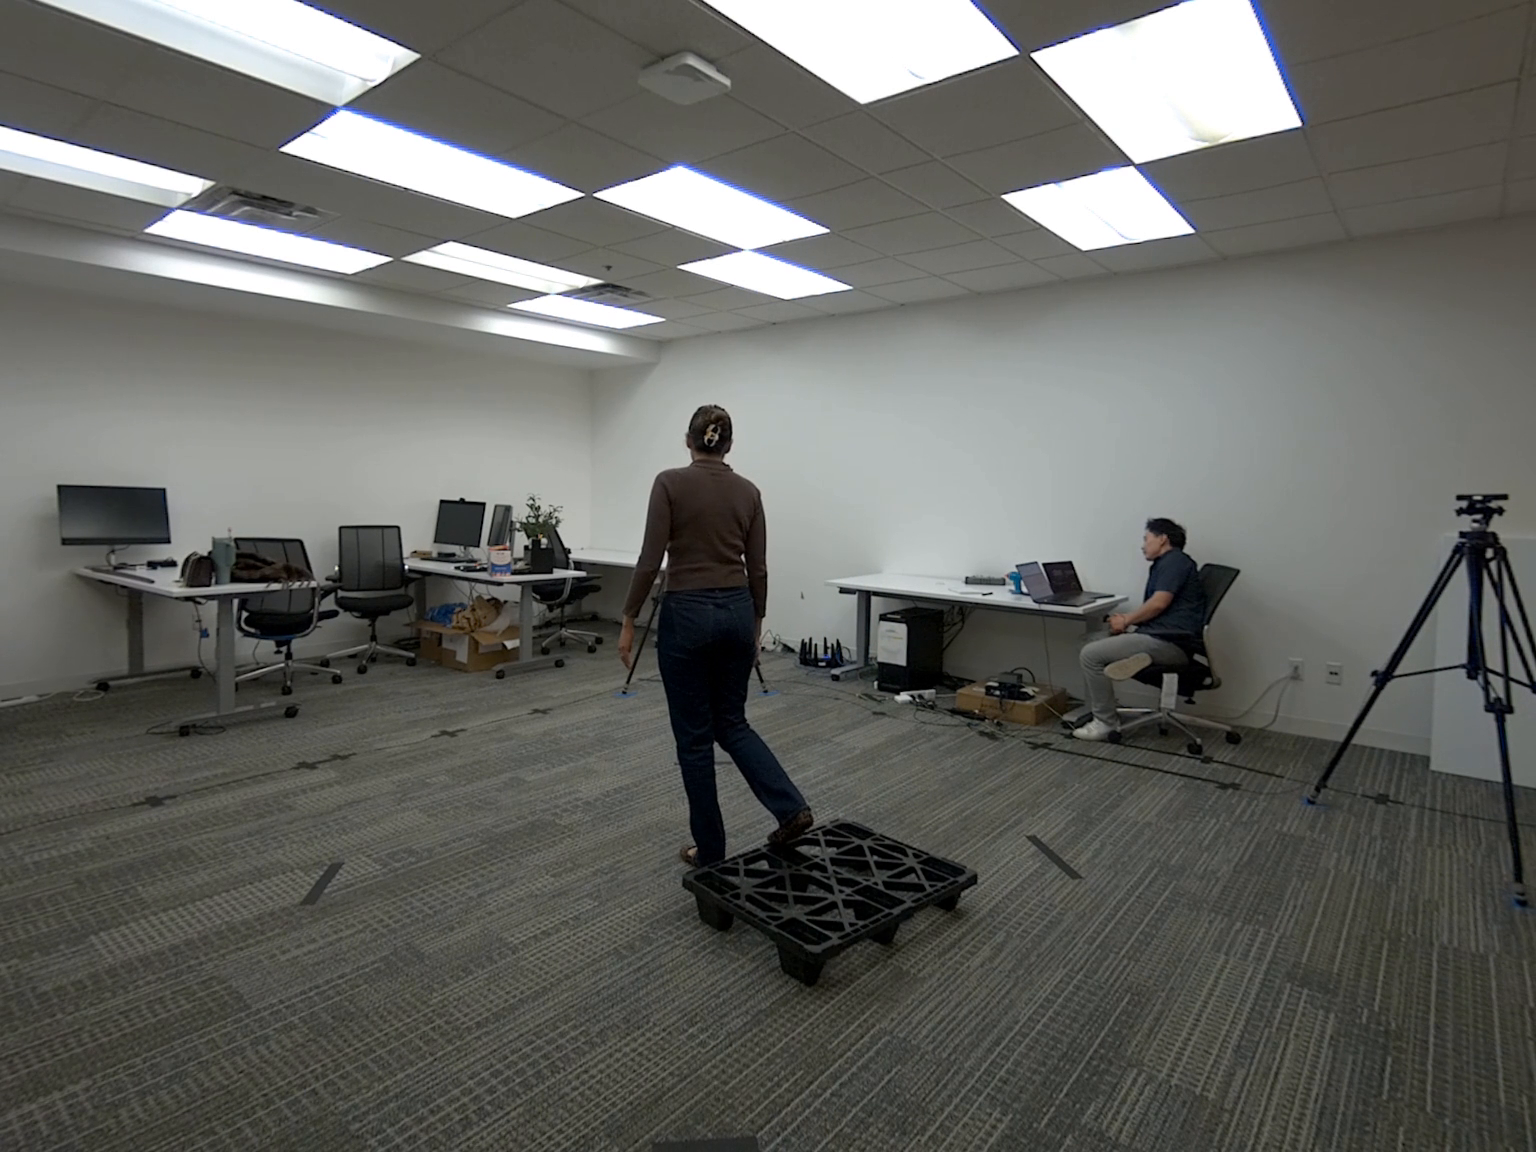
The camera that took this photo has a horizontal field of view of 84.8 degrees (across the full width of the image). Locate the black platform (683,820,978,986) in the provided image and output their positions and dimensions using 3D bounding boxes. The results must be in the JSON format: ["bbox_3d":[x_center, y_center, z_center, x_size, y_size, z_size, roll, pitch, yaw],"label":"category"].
[{"bbox_3d":[0.197,1.039,2.786,0.781,0.143,0.626,-4,6,-42],"label":"black platform"}]
